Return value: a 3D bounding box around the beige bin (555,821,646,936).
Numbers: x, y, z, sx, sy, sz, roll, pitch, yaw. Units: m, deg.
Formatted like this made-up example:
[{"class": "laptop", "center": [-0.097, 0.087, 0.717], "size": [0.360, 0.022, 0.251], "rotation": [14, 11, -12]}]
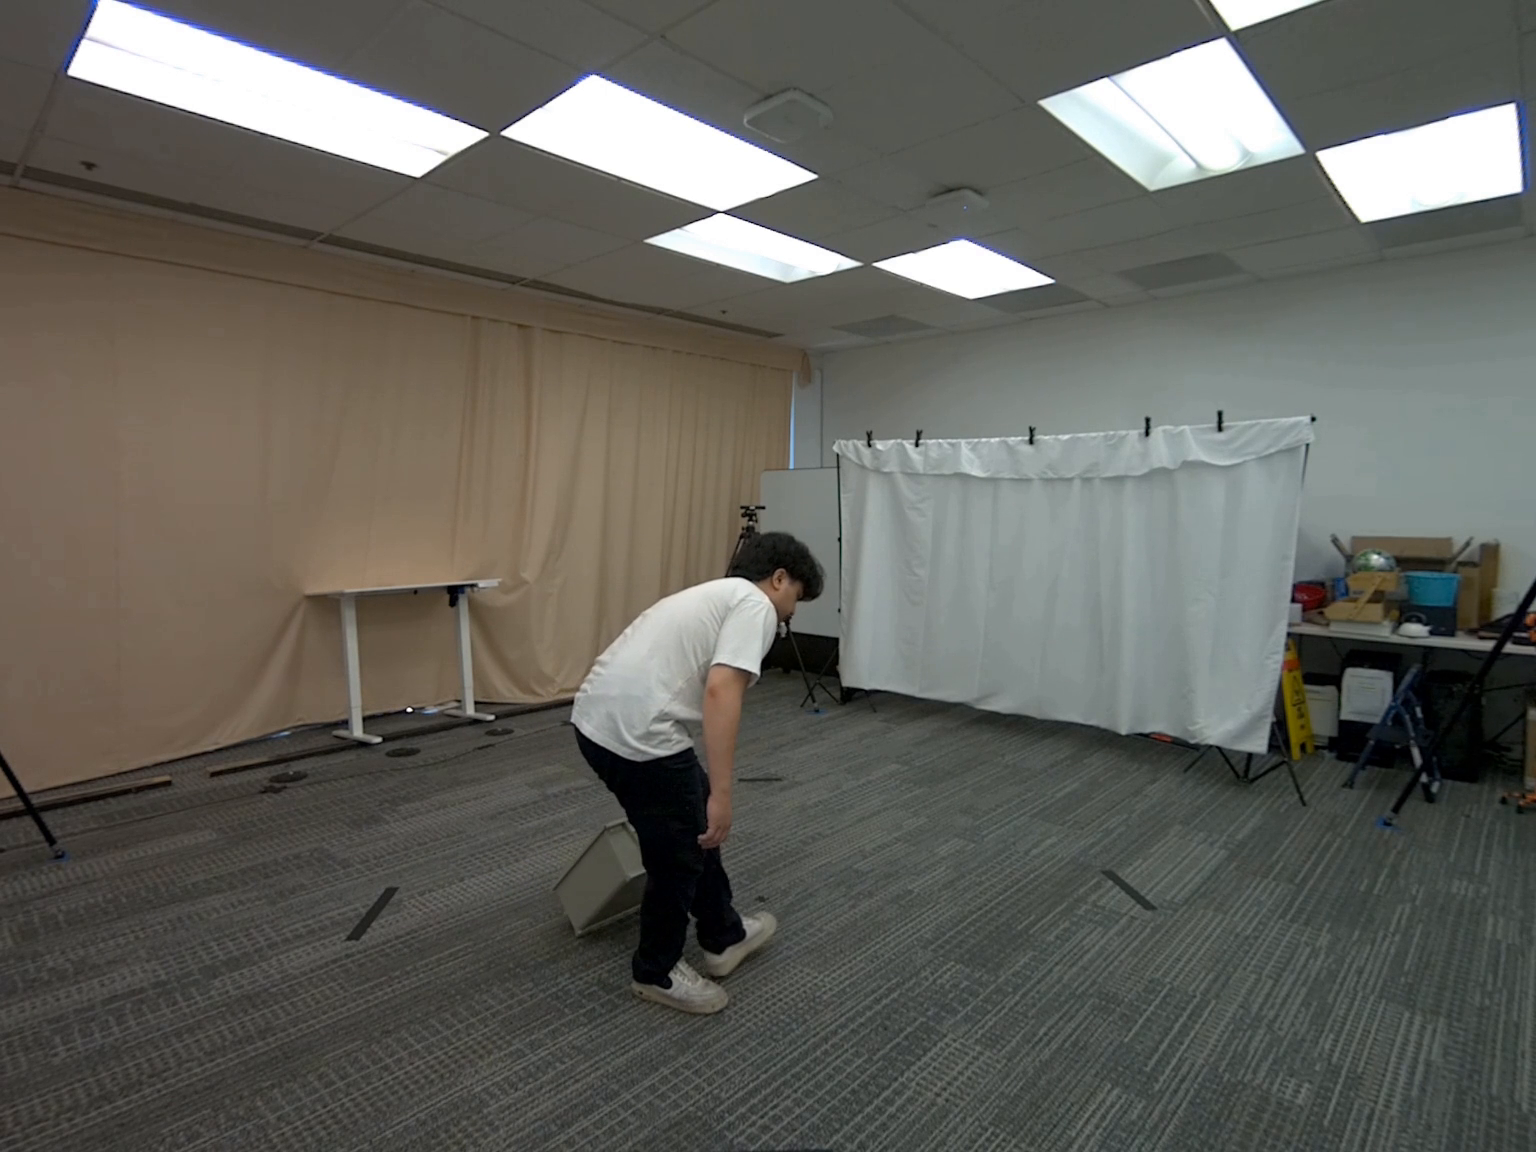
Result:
[{"class": "beige bin", "center": [-0.447, 0.957, 2.776], "size": [0.366, 0.194, 0.424], "rotation": [-7, -35, -47]}]
